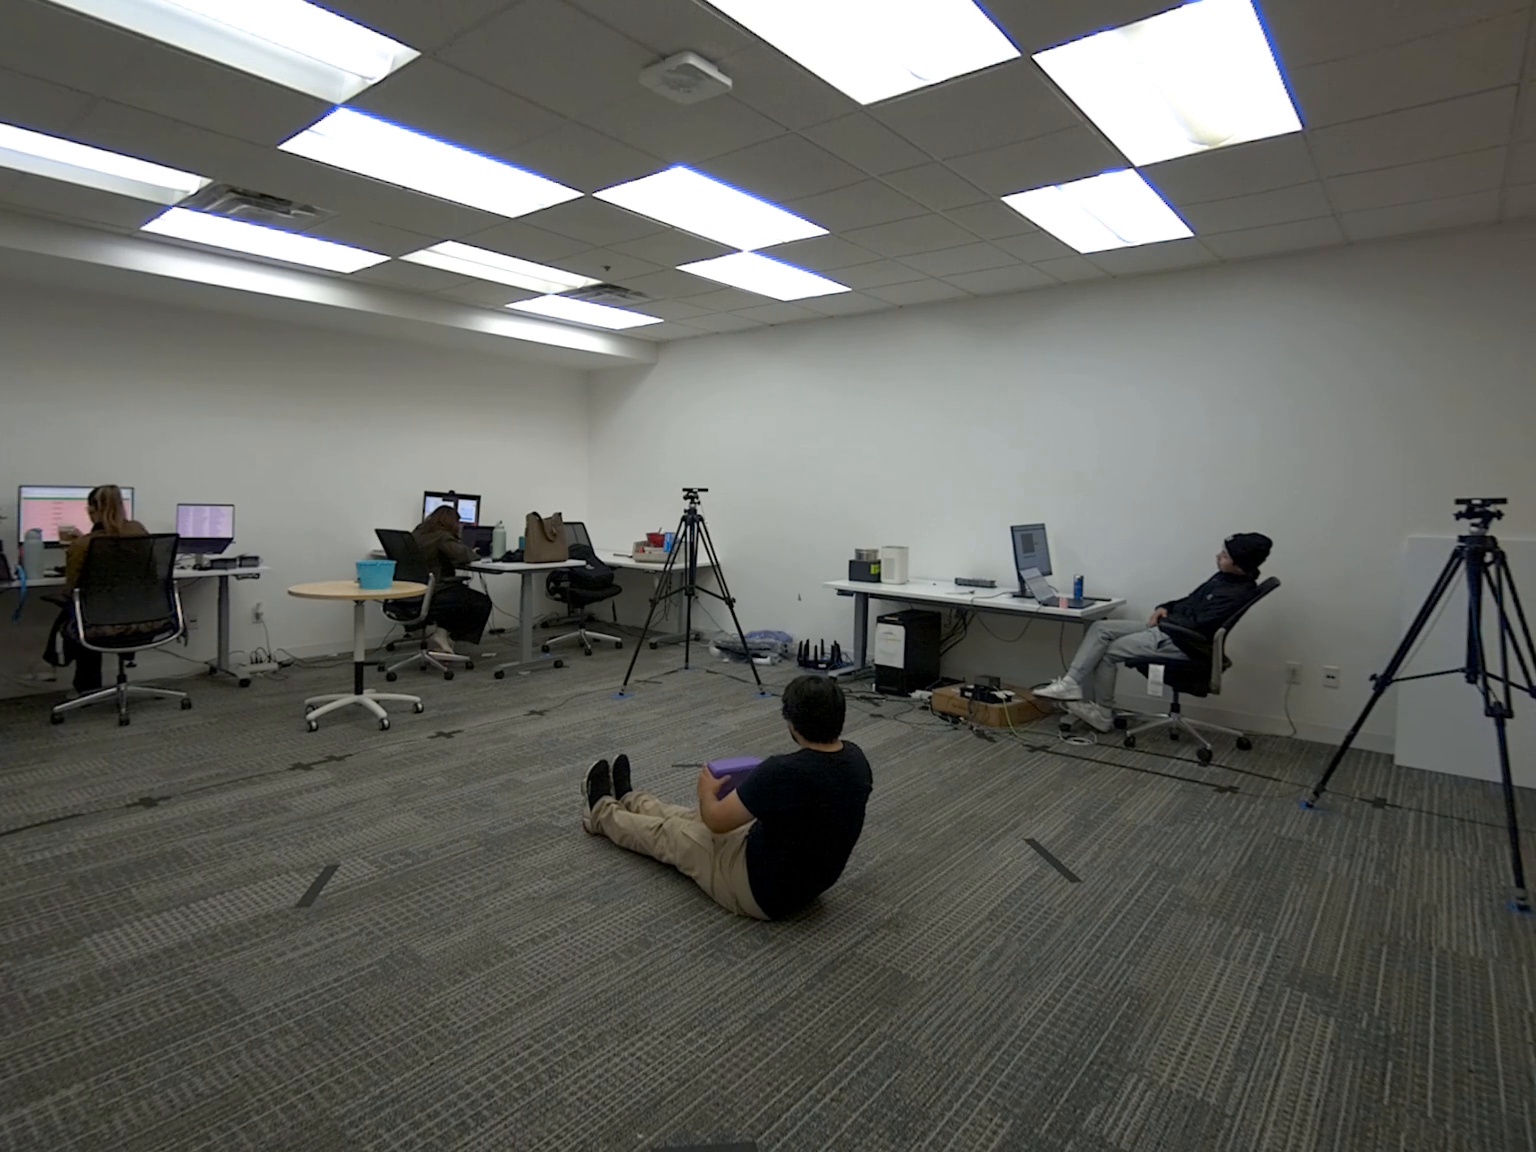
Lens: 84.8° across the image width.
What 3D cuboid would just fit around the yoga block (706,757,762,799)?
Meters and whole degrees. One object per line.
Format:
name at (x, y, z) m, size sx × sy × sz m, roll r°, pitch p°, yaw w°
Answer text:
yoga block at (-0.134, 0.760, 3.159) m, size 0.222 × 0.148 × 0.079 m, roll 1°, pitch 14°, yaw -33°
